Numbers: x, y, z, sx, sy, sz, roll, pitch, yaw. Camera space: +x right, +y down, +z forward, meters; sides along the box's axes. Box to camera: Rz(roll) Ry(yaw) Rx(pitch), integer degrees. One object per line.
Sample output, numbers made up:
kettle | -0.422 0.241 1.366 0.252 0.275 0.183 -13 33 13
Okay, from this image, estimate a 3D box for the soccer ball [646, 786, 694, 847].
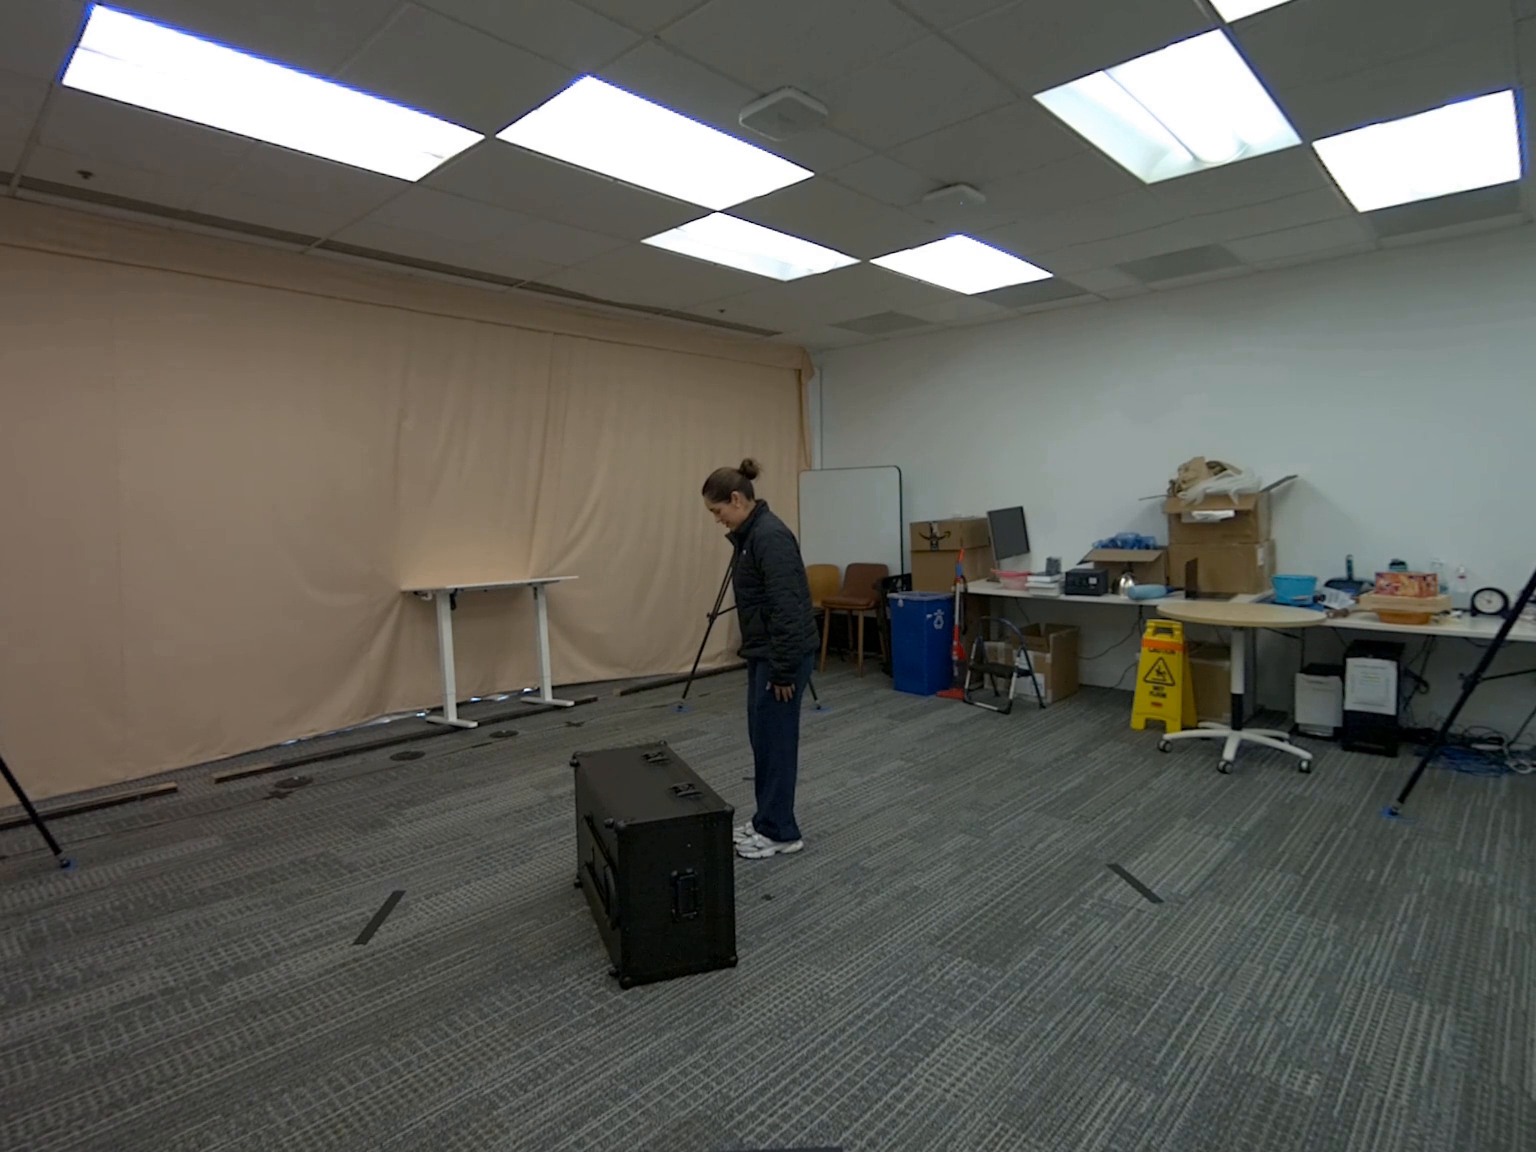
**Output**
soccer ball | -0.414 1.012 3.582 0.187 0.187 0.188 -1 4 -2
